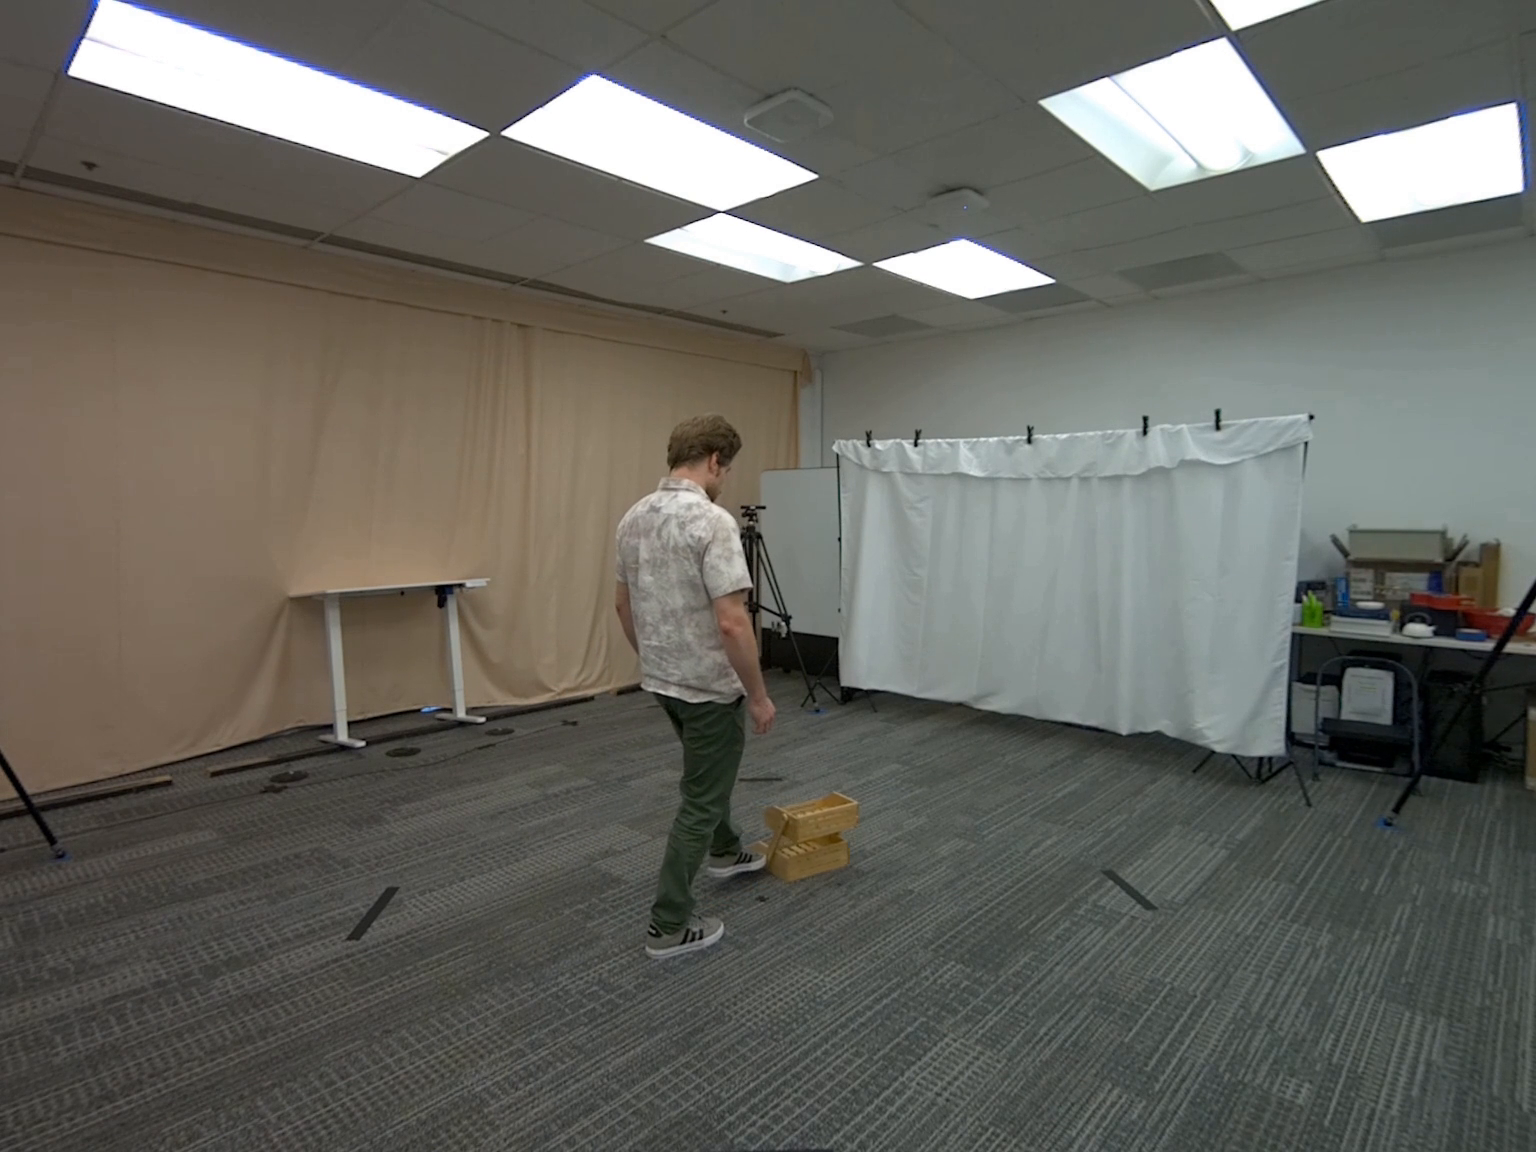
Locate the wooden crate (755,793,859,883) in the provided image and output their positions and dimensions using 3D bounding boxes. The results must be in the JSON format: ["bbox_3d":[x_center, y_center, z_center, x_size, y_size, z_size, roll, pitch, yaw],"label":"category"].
[{"bbox_3d":[0.138,0.983,3.260,0.315,0.272,0.311,-3,6,-34],"label":"wooden crate"}]
